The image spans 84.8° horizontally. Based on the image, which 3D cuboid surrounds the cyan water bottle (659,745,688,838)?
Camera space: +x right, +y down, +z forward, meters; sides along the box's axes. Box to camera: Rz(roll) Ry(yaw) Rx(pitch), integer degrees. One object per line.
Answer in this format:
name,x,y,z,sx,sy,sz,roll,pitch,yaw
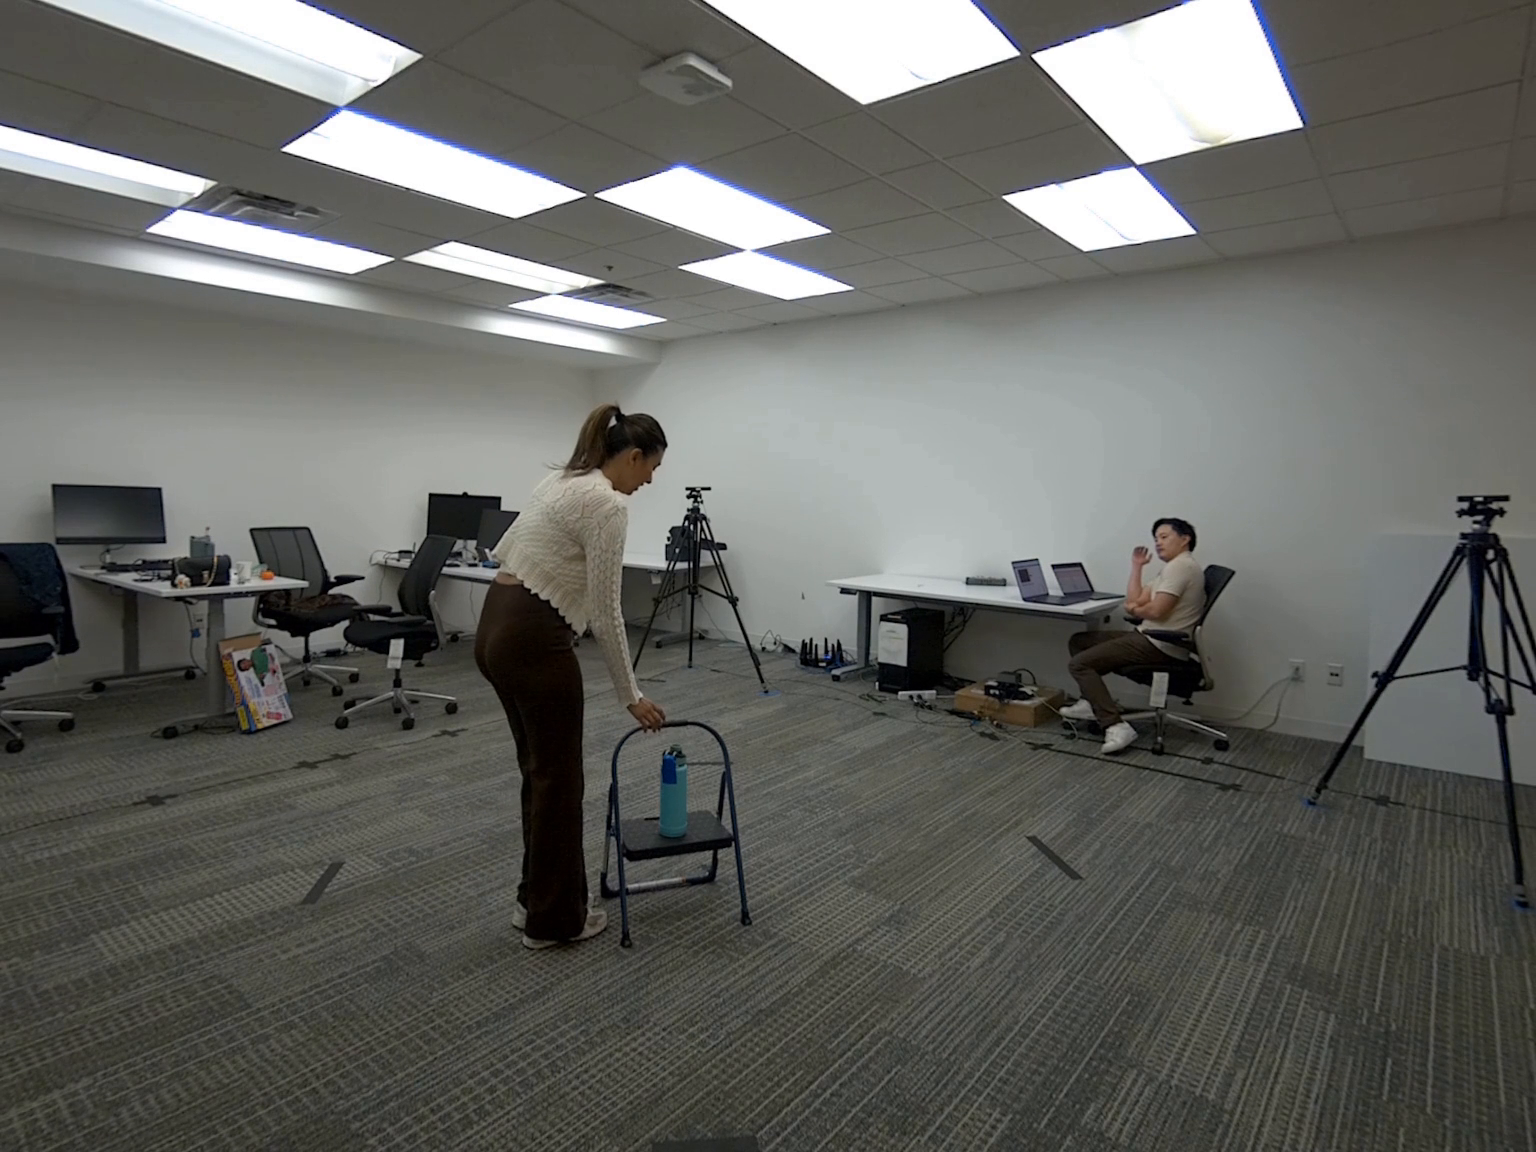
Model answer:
cyan water bottle,-0.319,0.697,2.766,0.092,0.282,0.093,2,5,-2
